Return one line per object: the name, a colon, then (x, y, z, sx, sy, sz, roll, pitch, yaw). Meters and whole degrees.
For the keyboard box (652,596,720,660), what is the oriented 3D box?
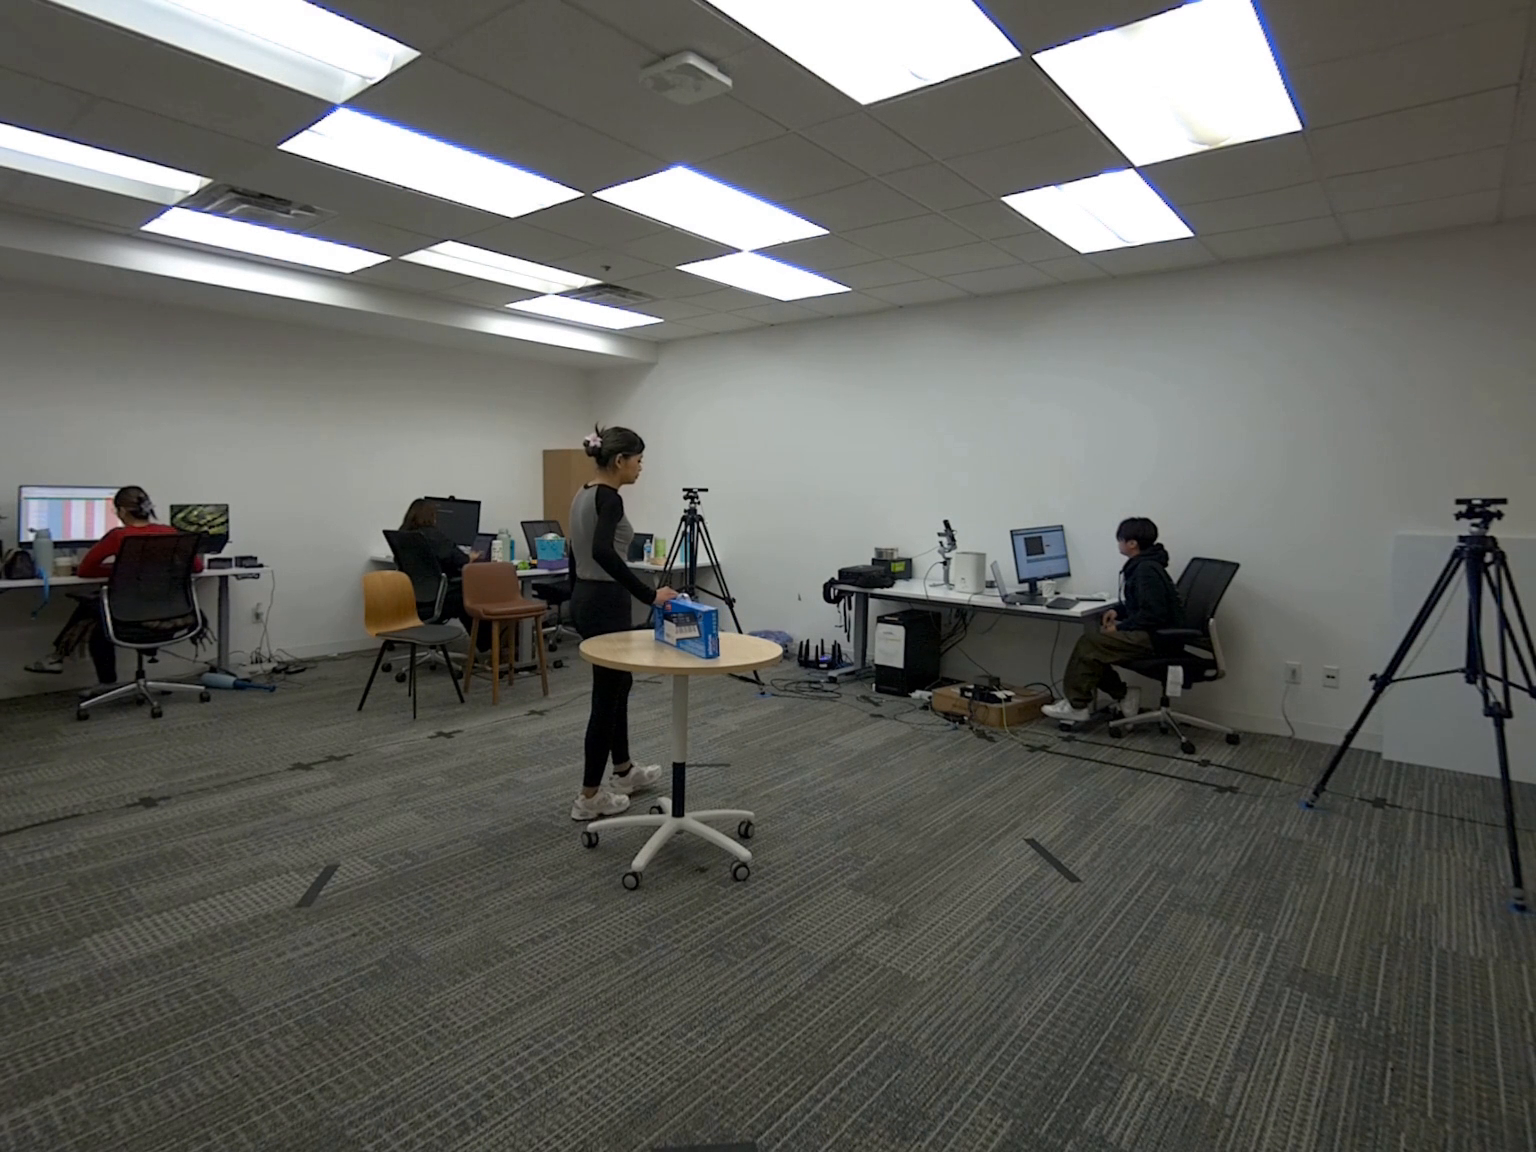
keyboard box: (-0.322, 0.182, 3.175, 0.057, 0.175, 0.450, -4, 7, -30)
